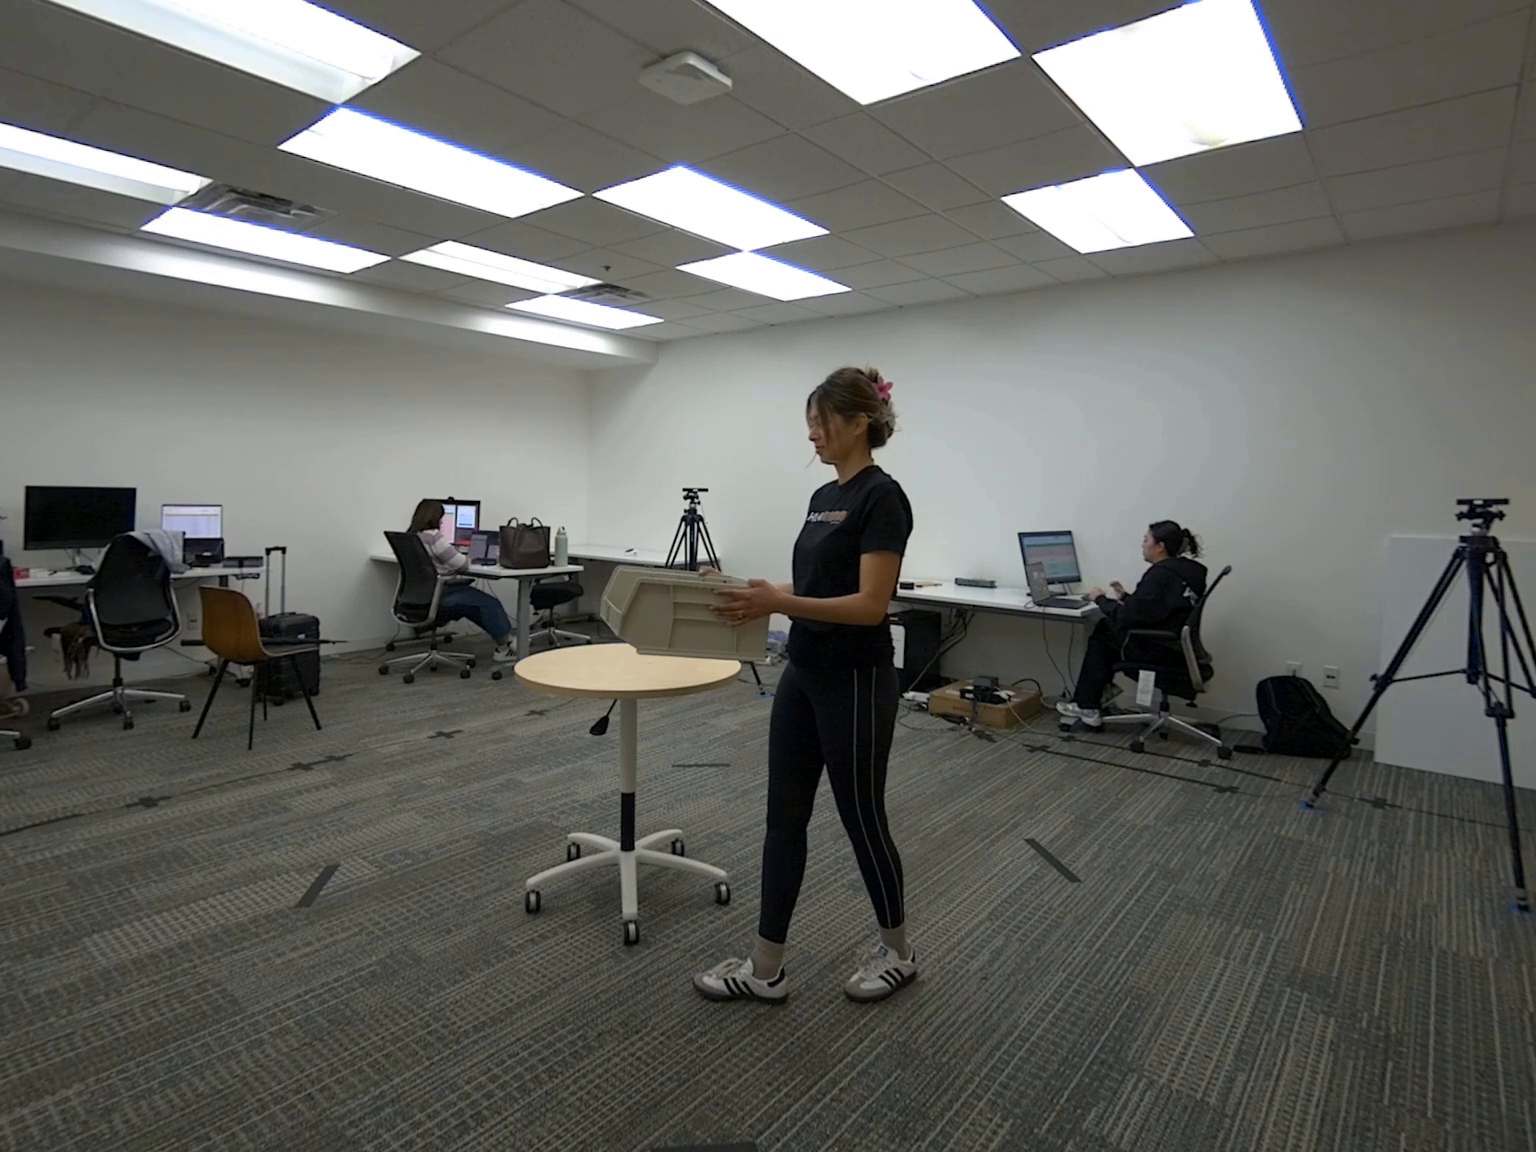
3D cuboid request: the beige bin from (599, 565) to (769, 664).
[{"bbox_3d":[-0.232,0.092,2.201,0.371,0.189,0.430,5,2,-17],"label":"beige bin"}]
